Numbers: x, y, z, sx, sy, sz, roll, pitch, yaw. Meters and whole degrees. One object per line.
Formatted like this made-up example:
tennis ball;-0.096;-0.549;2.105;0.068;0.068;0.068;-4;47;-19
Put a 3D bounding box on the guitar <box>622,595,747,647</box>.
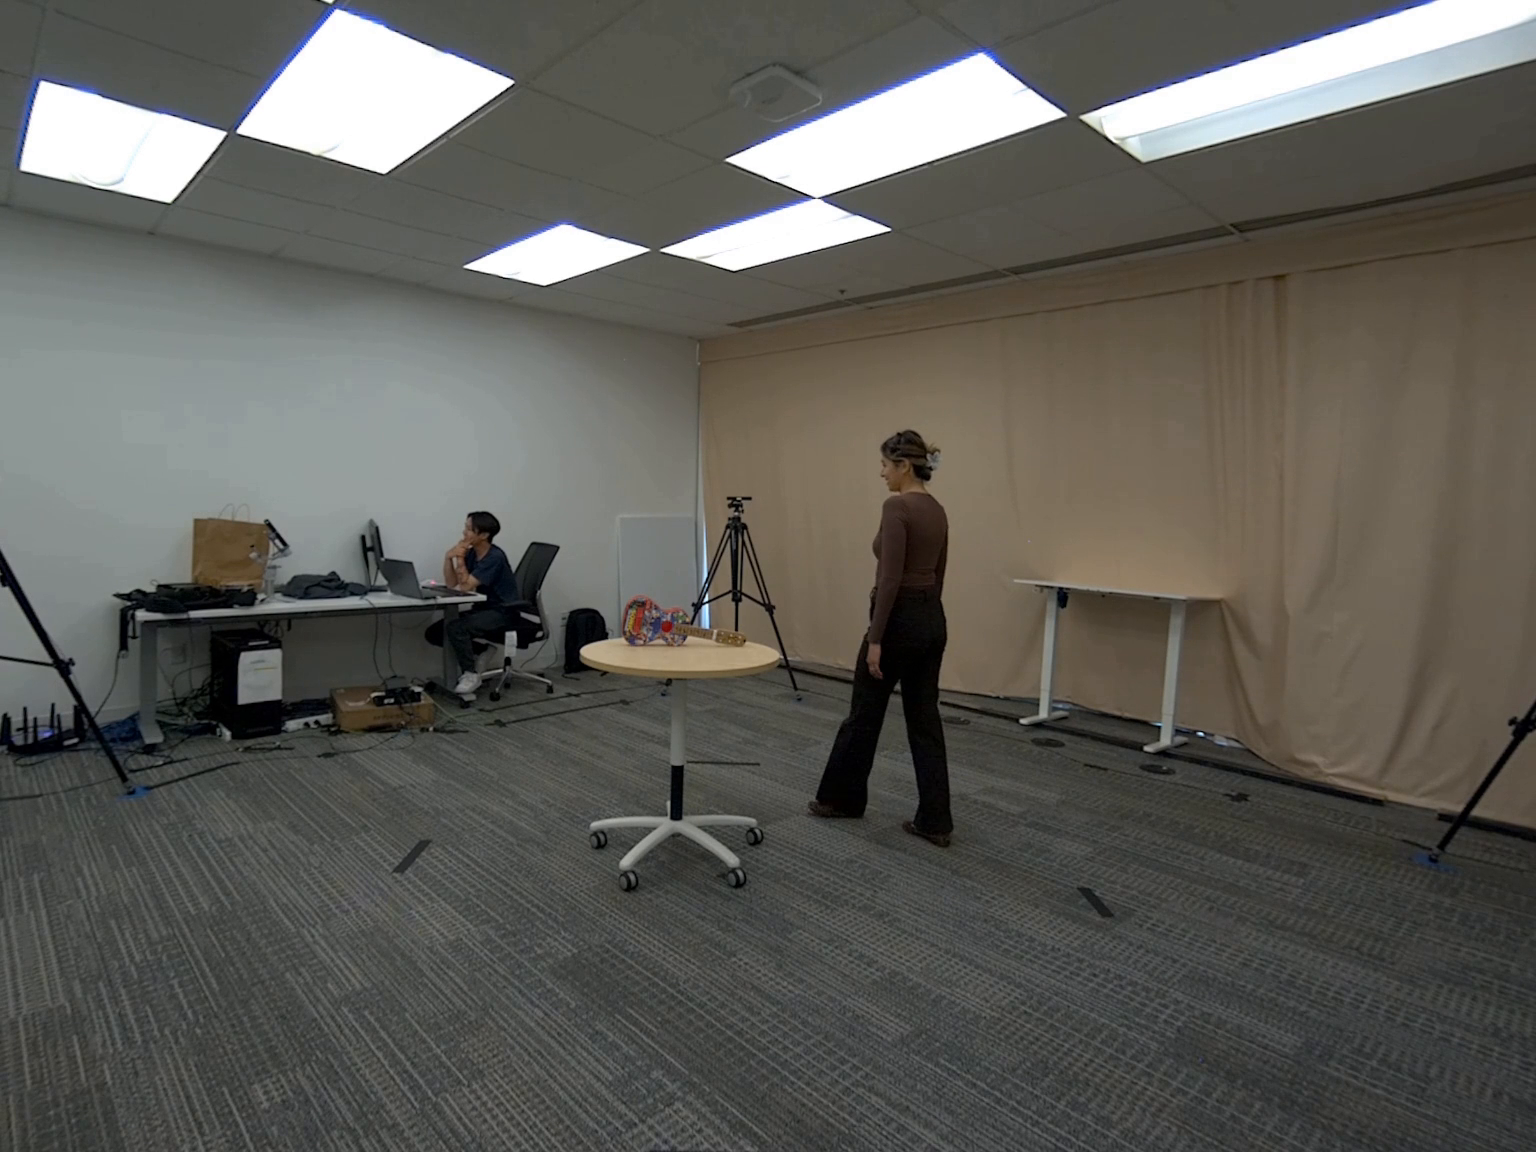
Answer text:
guitar;-0.351;0.237;3.381;0.492;0.193;0.071;20;0;-11
